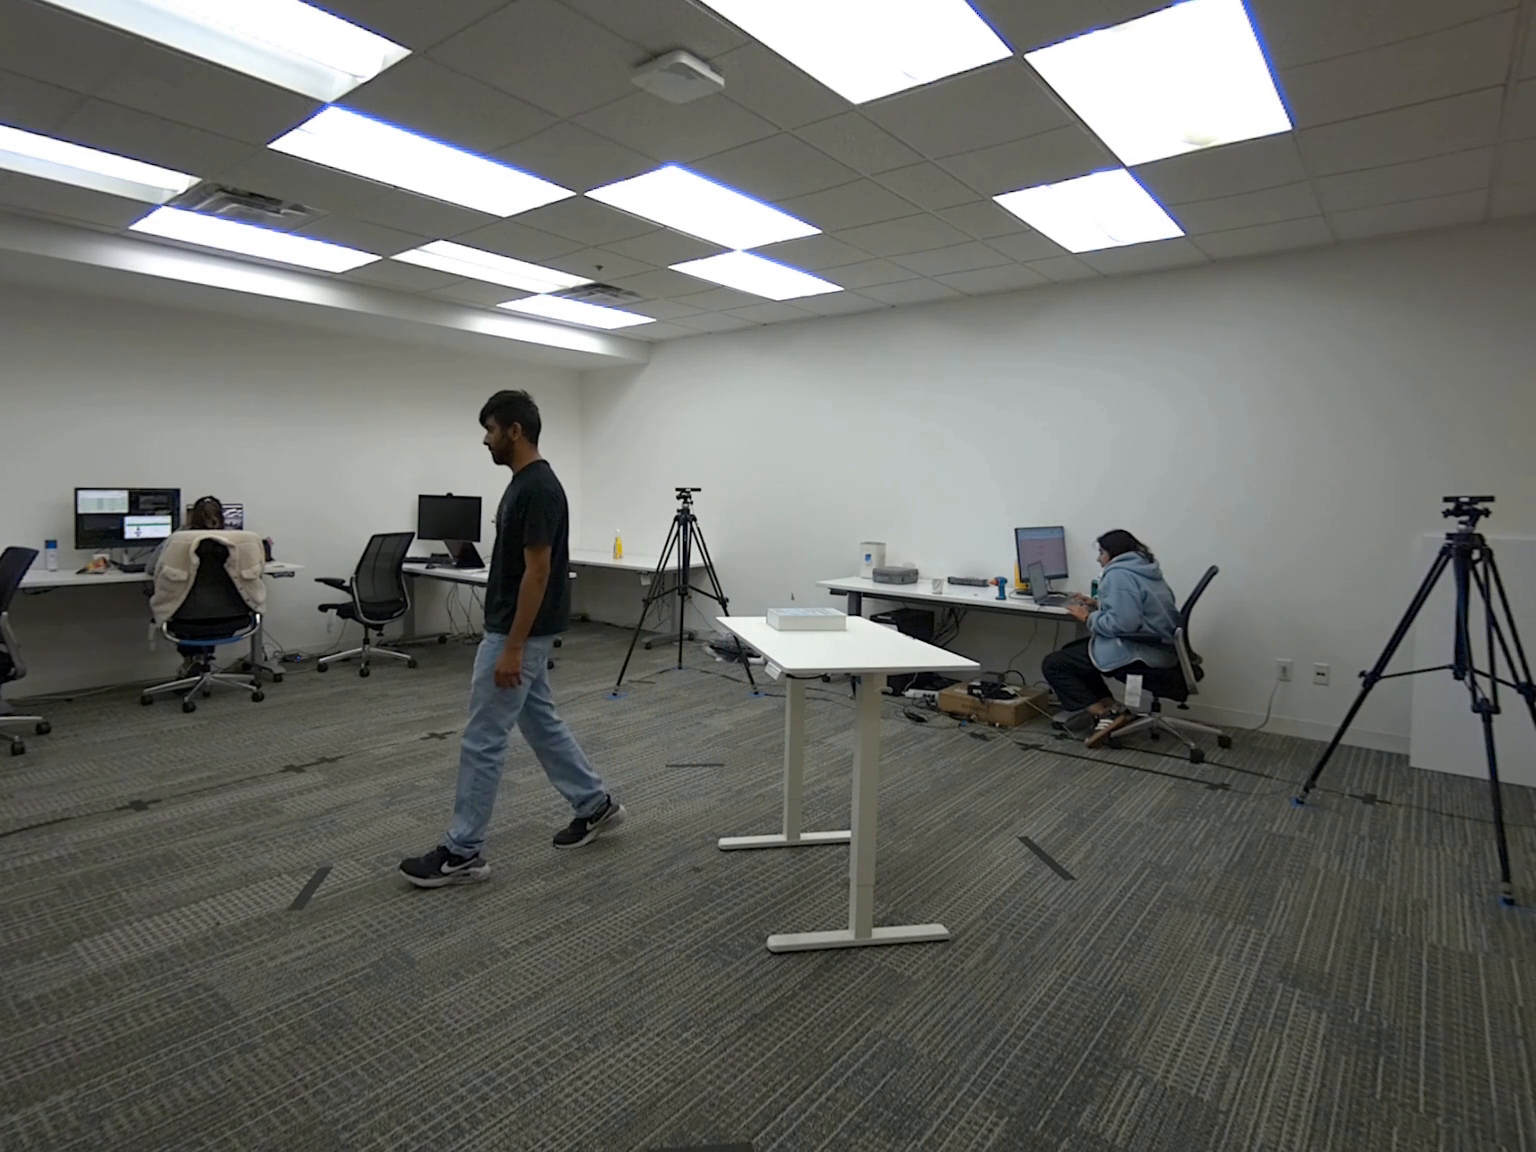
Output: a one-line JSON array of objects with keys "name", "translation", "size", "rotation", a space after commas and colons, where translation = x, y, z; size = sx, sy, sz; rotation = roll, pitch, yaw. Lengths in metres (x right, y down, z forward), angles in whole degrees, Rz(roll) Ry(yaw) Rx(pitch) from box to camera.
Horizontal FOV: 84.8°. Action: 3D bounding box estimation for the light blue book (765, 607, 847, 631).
[{"name": "light blue book", "translation": [0.134, 0.165, 3.180], "size": [0.258, 0.059, 0.194], "rotation": [0, 6, -11]}]
